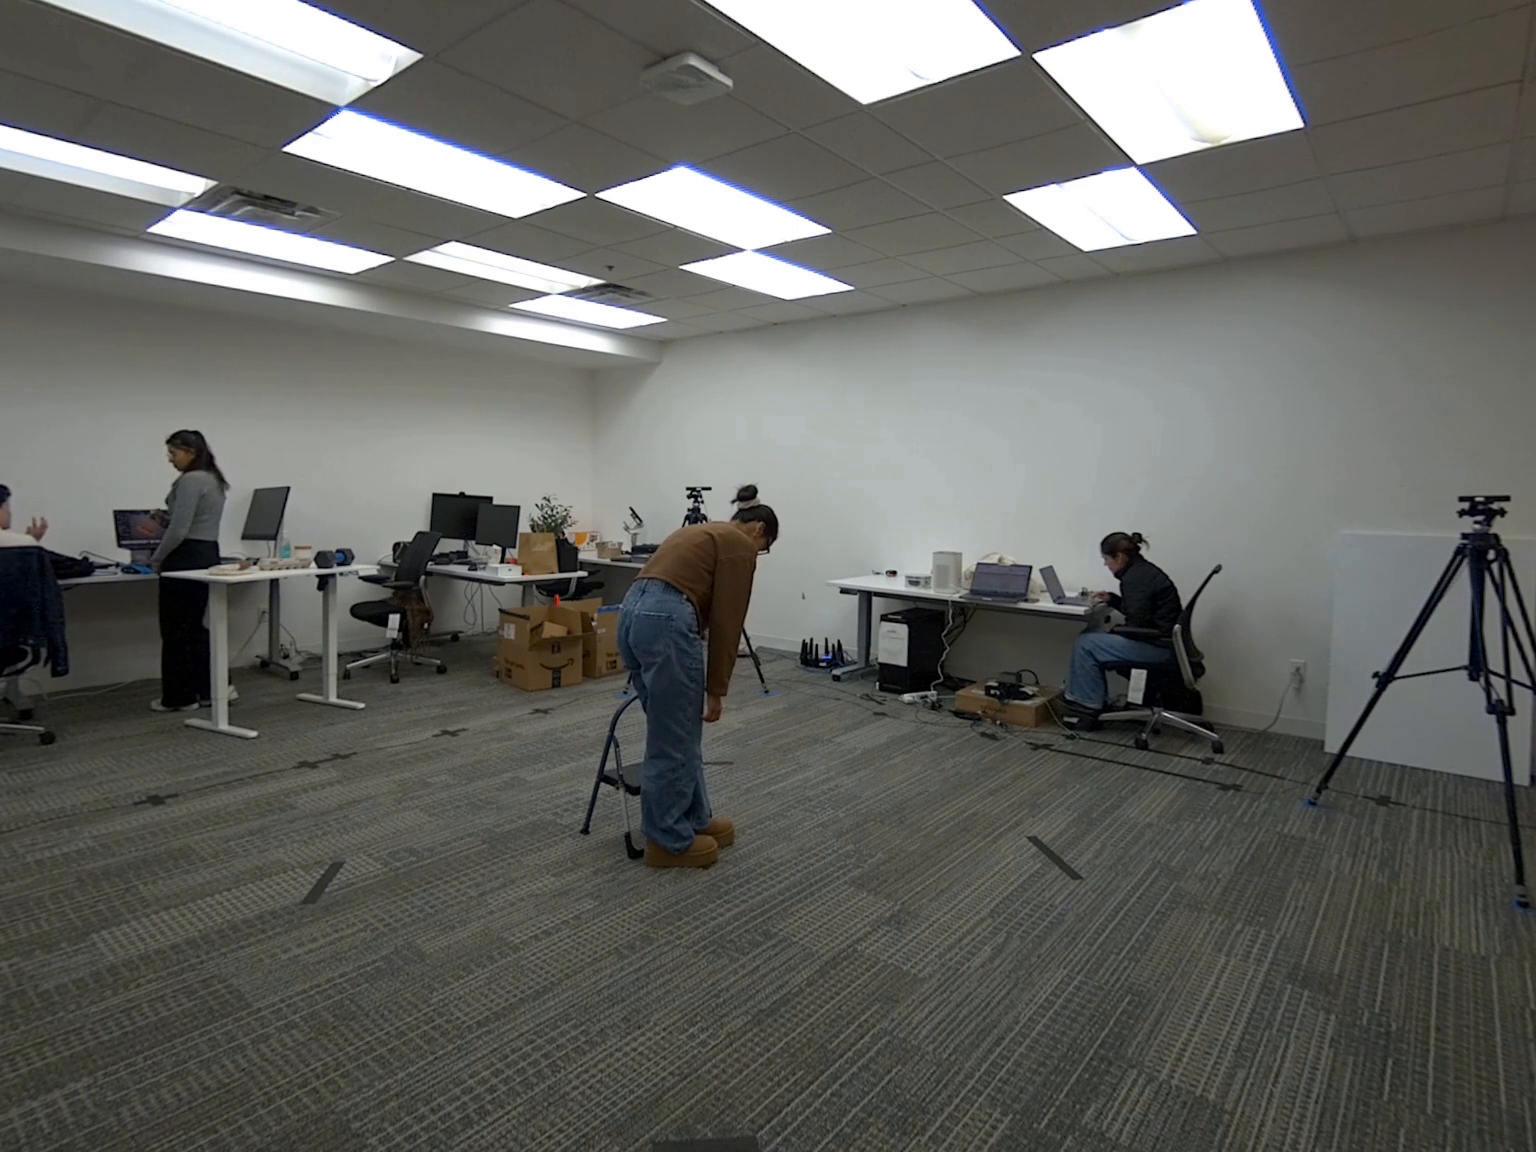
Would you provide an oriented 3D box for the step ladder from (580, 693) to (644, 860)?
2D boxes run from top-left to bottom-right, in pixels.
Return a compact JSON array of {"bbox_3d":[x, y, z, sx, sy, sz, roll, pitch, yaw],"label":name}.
[{"bbox_3d":[-0.495,0.726,3.417,0.417,0.604,0.361,-2,5,-44],"label":"step ladder"}]
